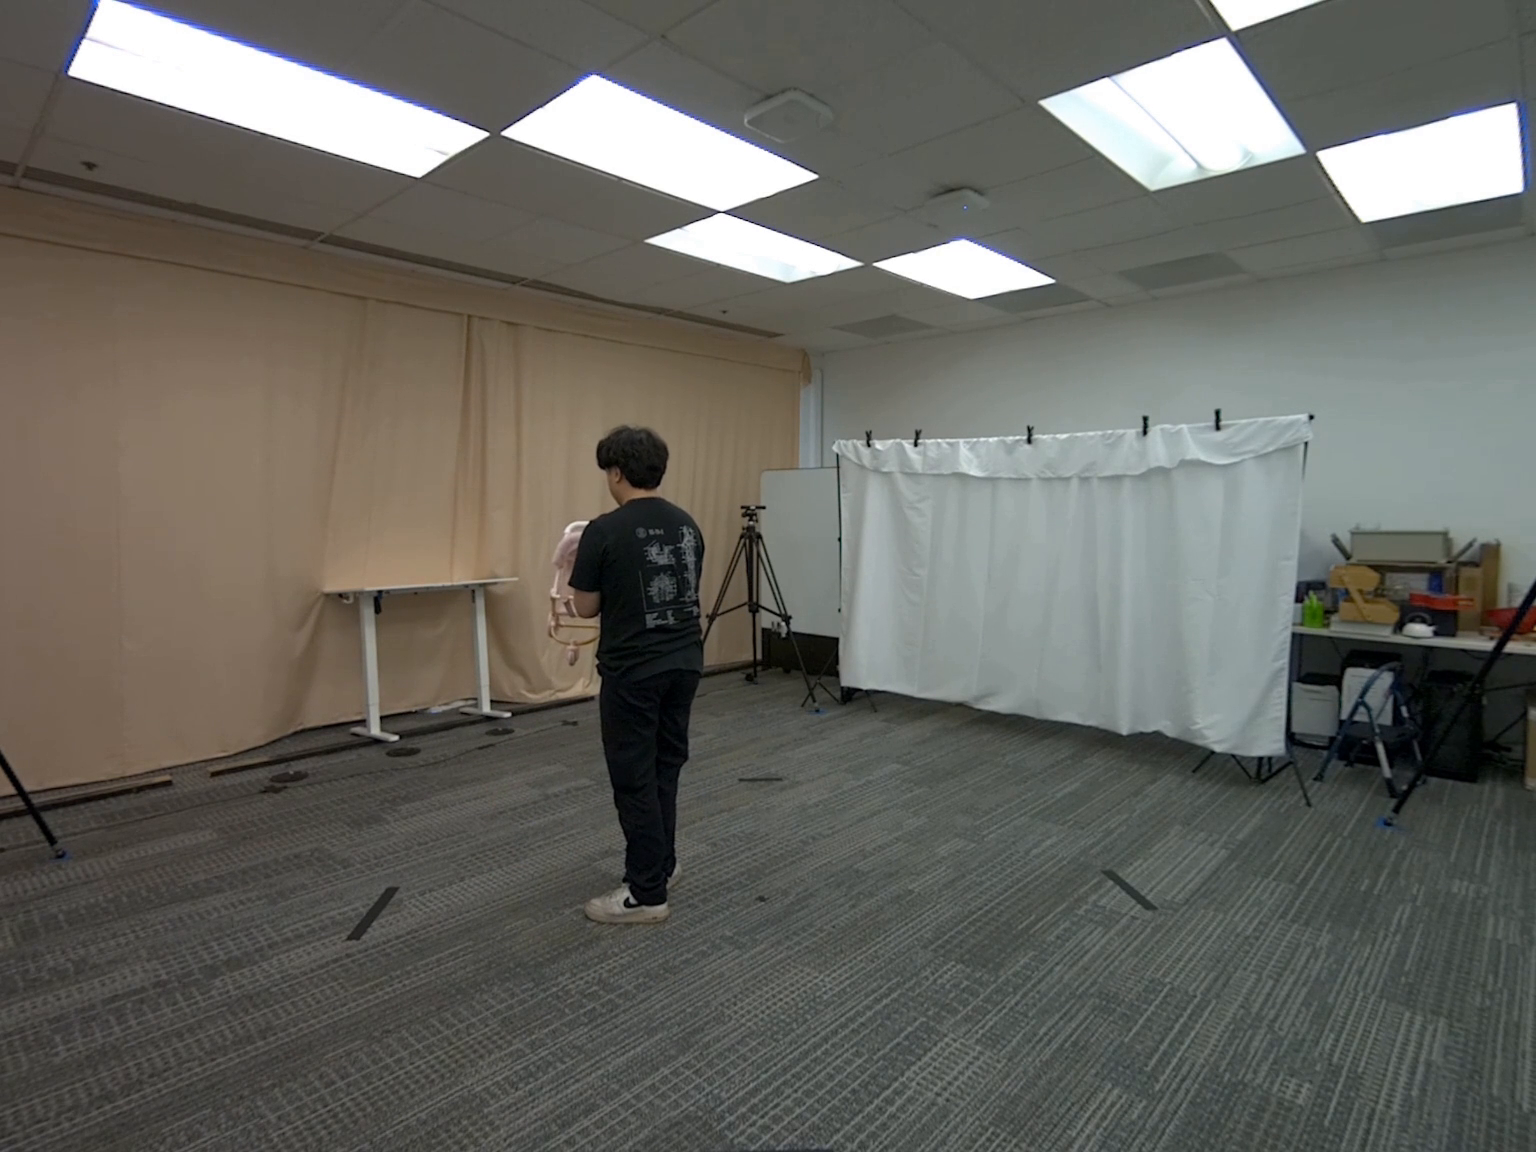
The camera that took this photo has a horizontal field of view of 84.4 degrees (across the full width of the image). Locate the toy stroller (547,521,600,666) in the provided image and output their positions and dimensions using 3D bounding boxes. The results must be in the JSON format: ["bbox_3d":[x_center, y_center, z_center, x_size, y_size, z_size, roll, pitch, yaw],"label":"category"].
[{"bbox_3d":[-0.738,0.062,3.313,0.282,0.534,0.341,4,4,2],"label":"toy stroller"}]
